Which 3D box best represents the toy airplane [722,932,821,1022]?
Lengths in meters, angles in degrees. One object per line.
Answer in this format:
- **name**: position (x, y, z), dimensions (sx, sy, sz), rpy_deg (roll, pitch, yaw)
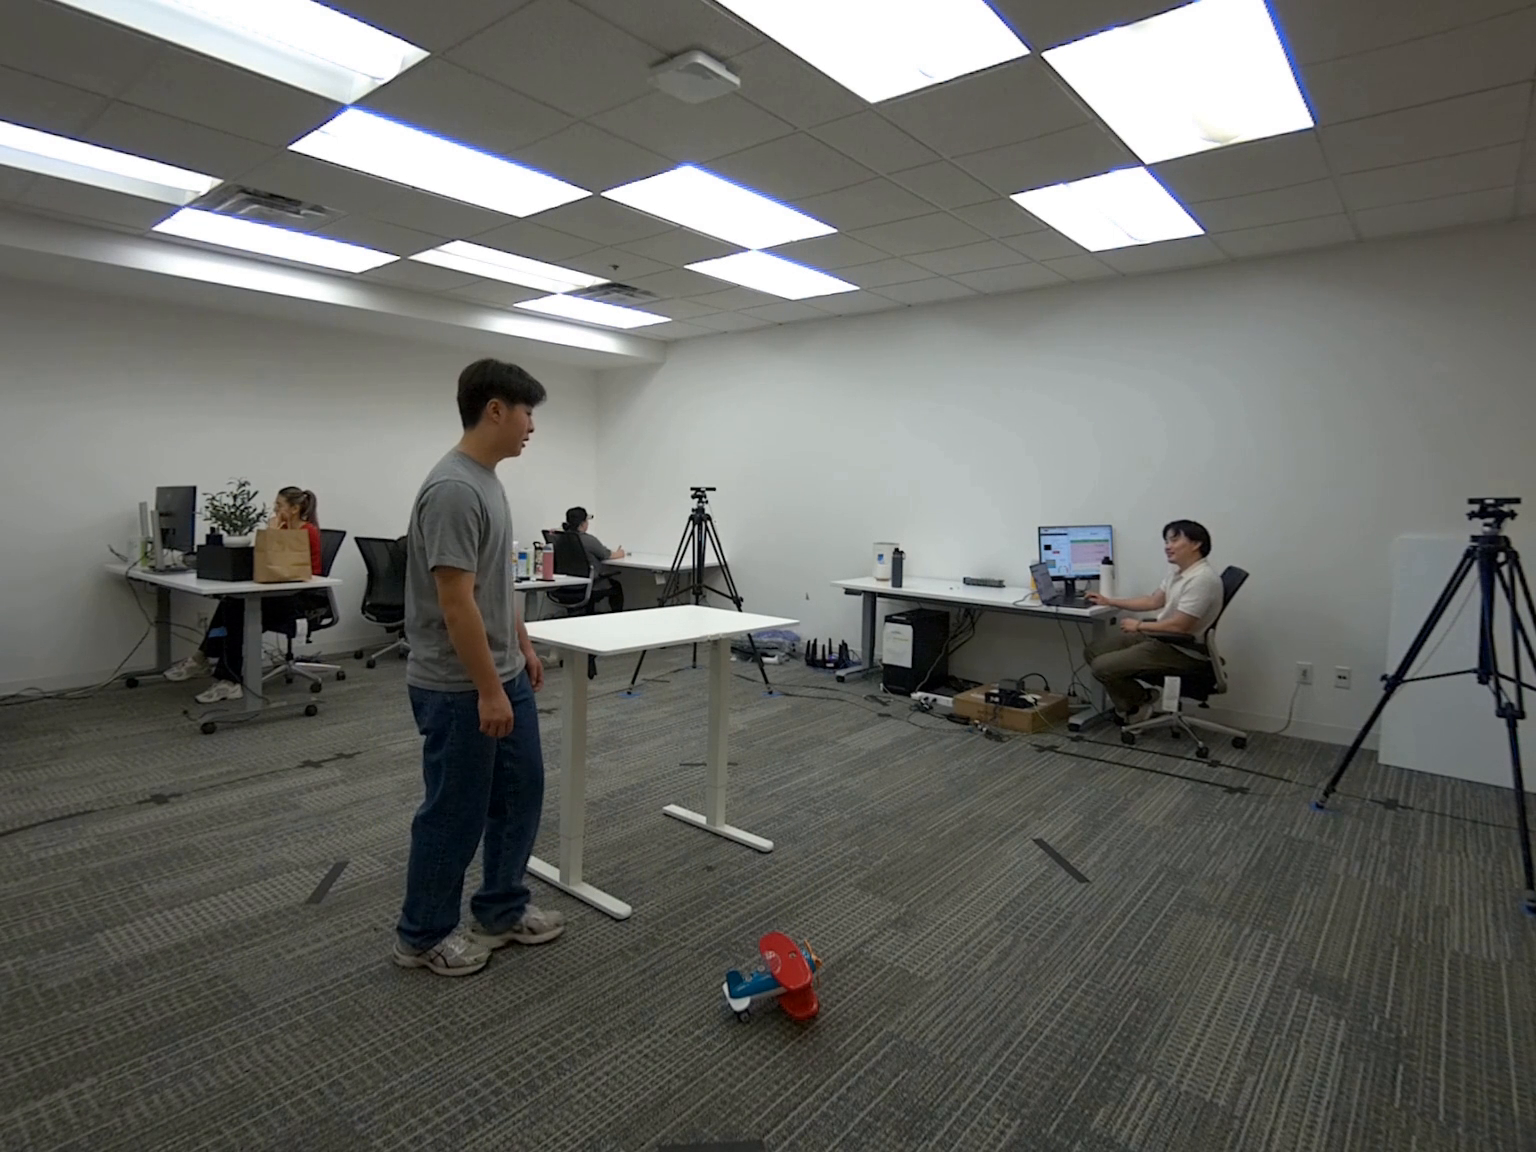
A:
- **toy airplane**: position (0.018, 1.092, 2.231), dimensions (0.260, 0.156, 0.251), rpy_deg (5, 6, 43)
